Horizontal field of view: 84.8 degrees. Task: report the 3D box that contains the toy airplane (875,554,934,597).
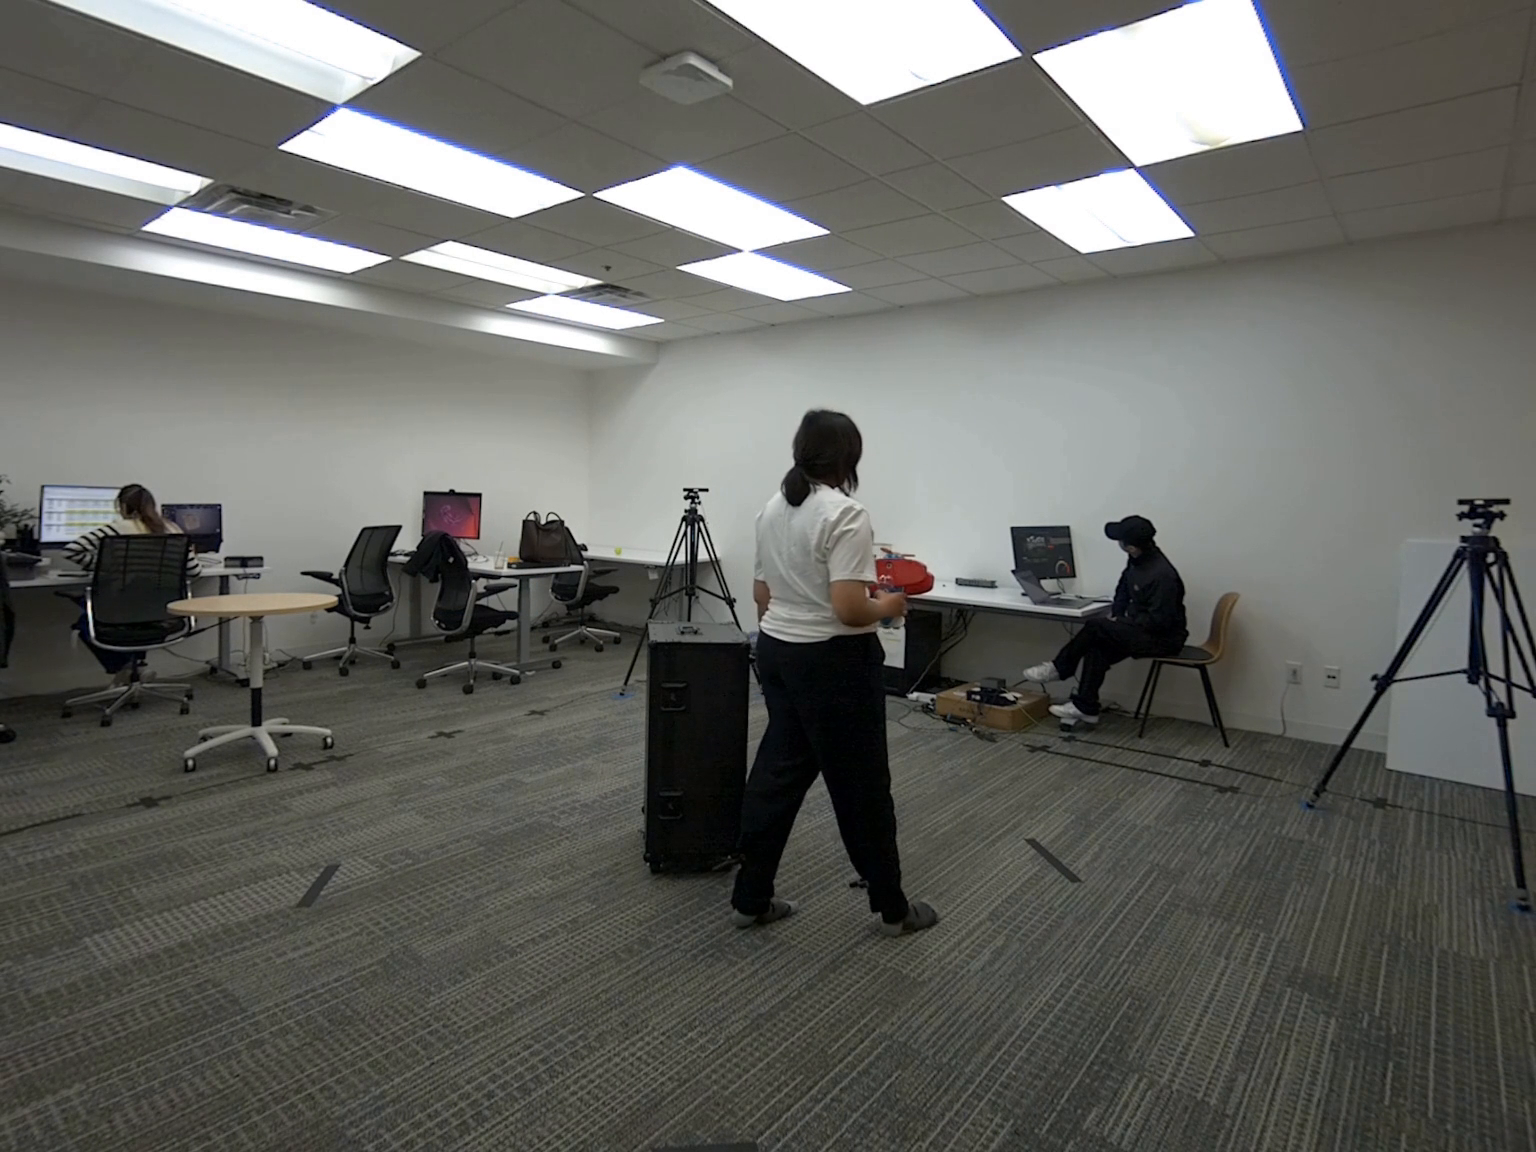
[{"bbox_3d":[0.421,0.041,2.786,0.253,0.268,0.150,-21,-45,10],"label":"toy airplane"}]
